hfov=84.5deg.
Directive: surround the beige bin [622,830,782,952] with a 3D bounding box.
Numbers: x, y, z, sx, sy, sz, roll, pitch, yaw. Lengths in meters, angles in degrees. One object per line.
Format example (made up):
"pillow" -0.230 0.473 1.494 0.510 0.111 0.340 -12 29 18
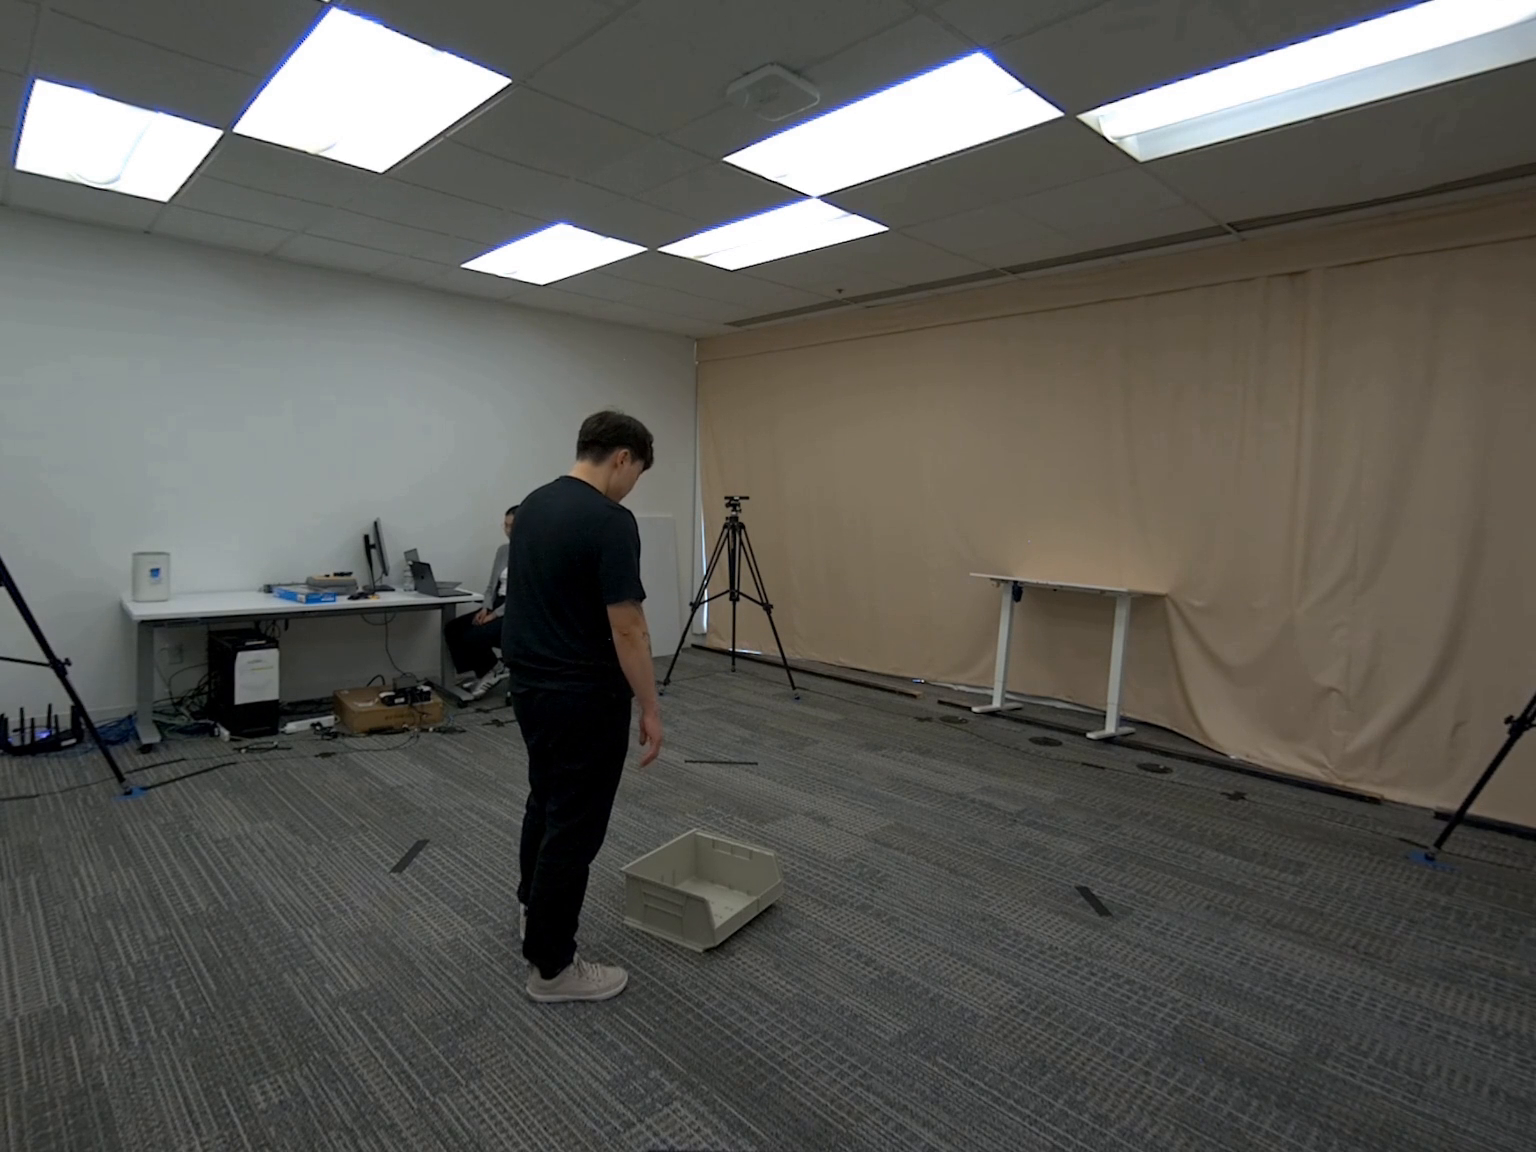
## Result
"beige bin" -0.218 1.042 2.803 0.386 0.188 0.414 3 6 31
